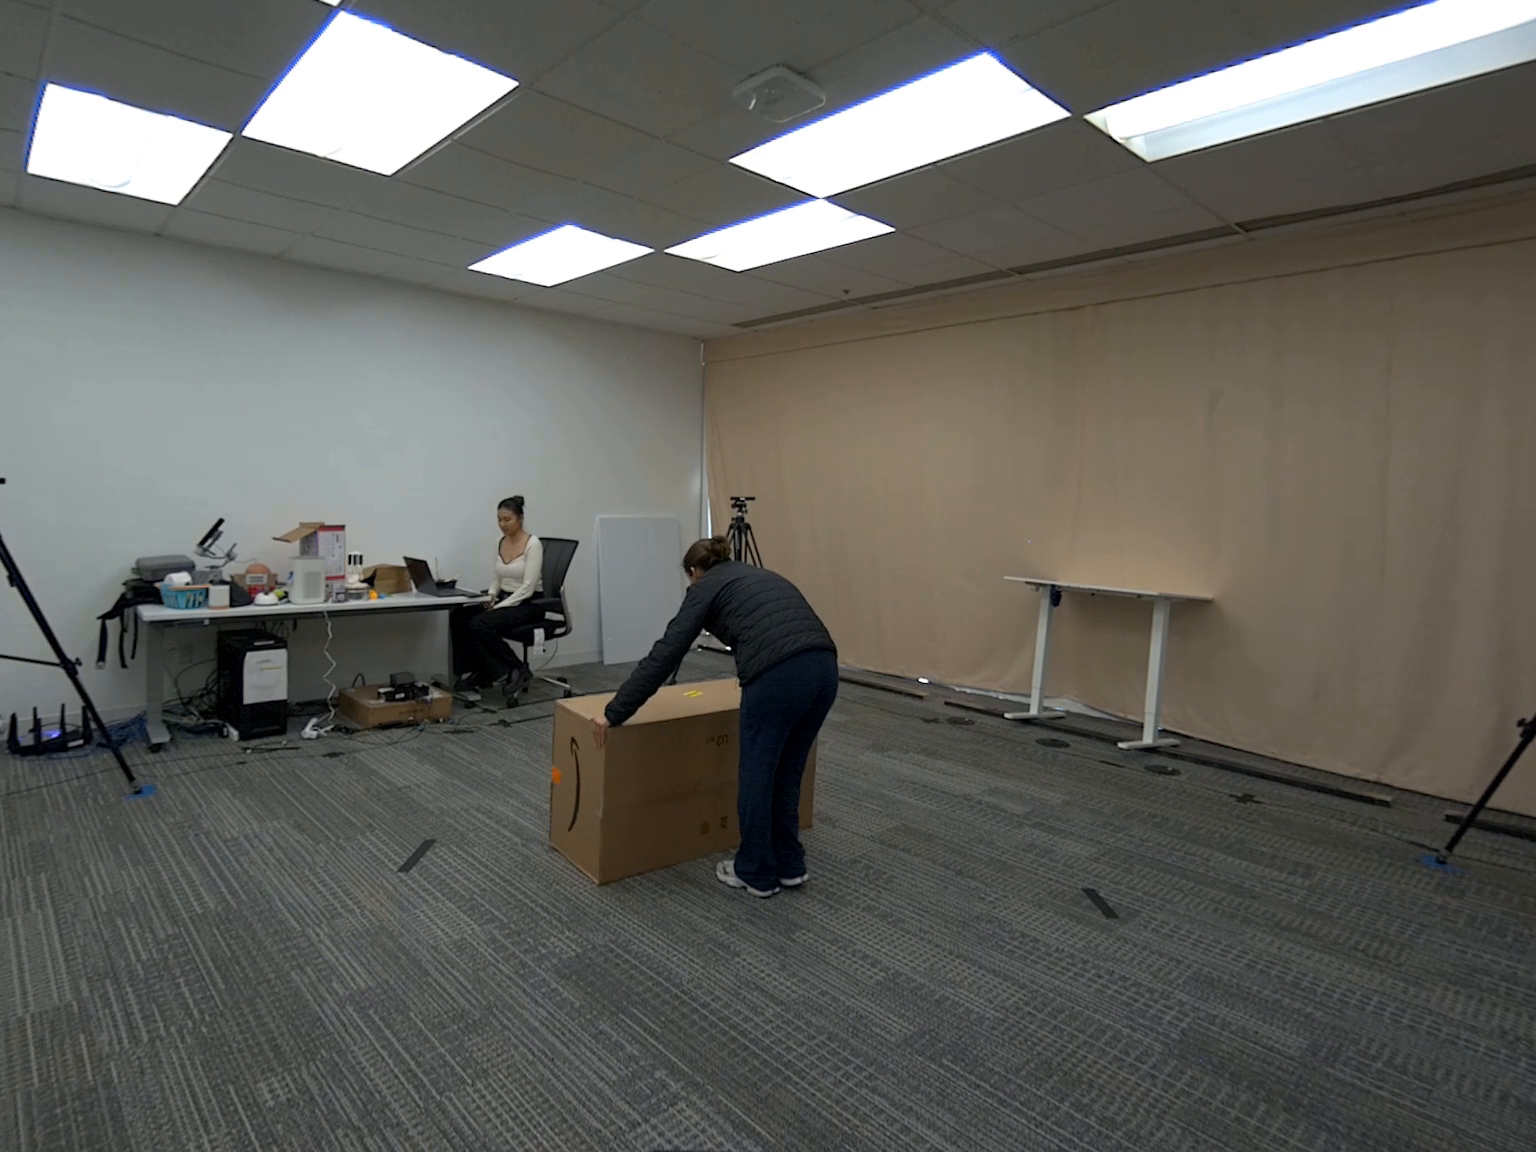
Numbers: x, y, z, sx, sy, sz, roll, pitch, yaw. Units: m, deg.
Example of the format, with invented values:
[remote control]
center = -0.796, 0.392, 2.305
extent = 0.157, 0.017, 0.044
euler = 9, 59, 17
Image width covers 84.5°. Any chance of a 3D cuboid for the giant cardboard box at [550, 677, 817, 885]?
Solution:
[giant cardboard box]
center = -0.331, 0.784, 3.439
extent = 1.004, 0.582, 0.458
euler = -2, 5, -39
